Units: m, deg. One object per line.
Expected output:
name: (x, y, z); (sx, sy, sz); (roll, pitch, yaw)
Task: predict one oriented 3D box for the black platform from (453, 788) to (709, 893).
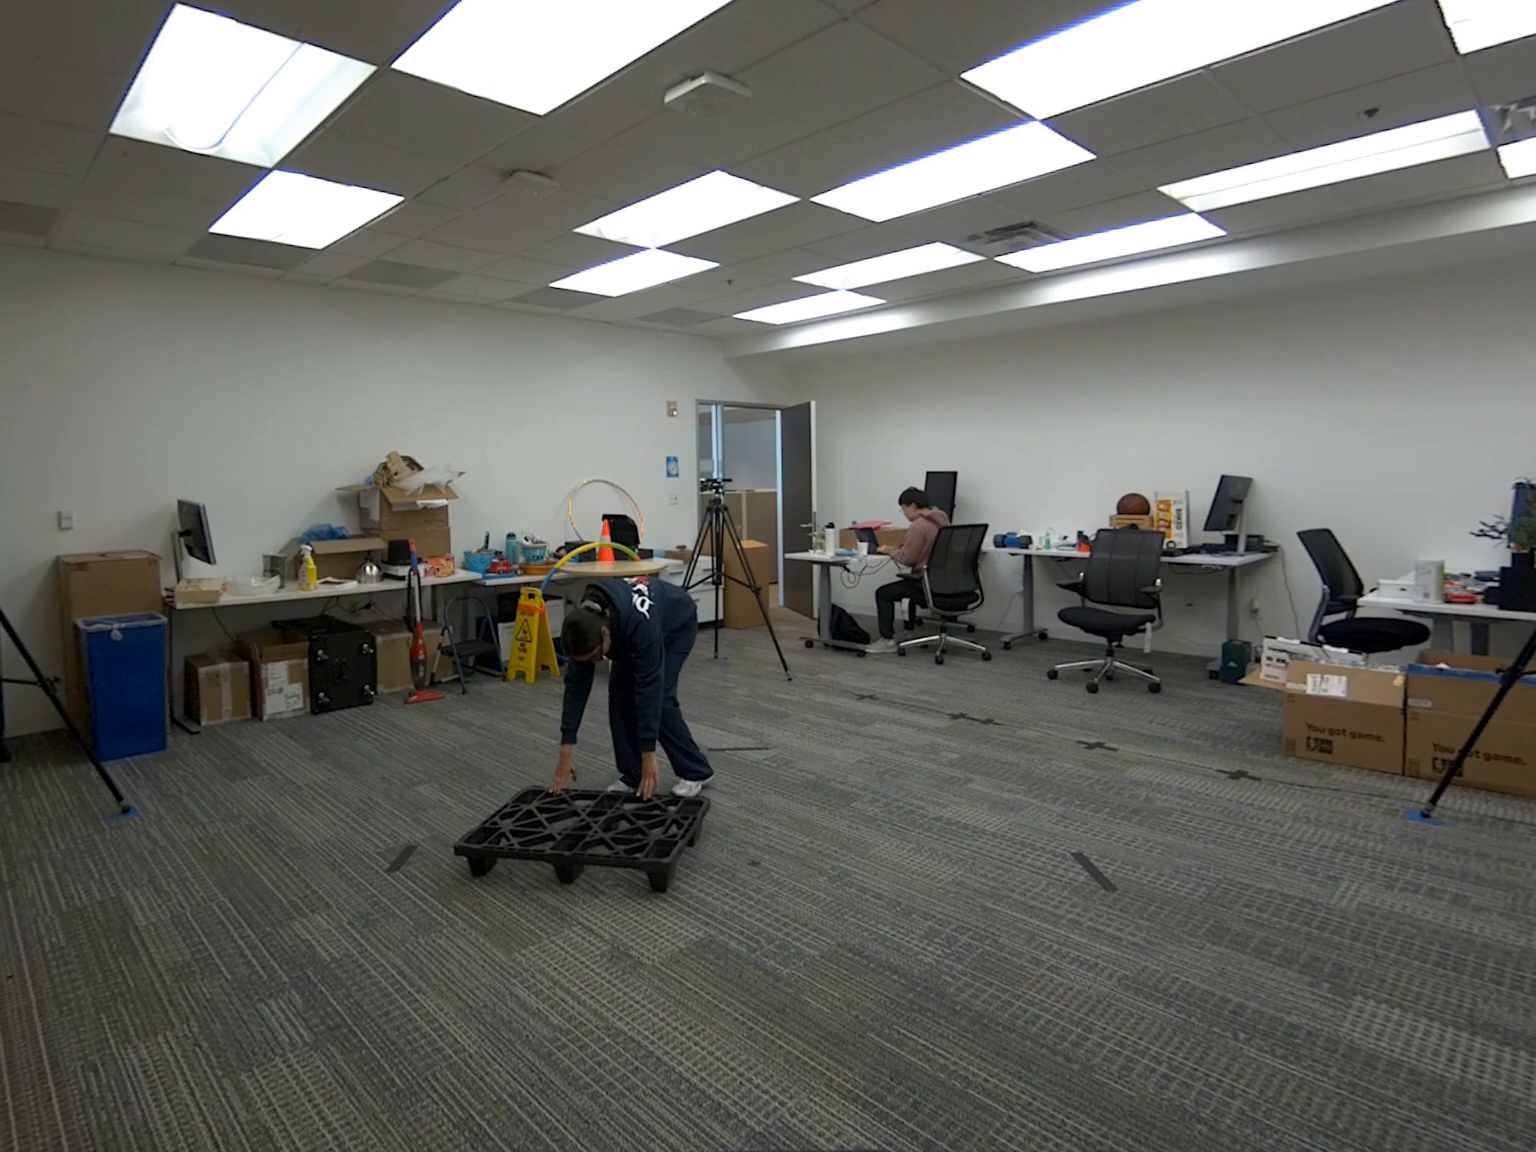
black platform: (-0.664, 0.974, 3.208); (0.815, 0.143, 0.600); (0, 6, 12)
